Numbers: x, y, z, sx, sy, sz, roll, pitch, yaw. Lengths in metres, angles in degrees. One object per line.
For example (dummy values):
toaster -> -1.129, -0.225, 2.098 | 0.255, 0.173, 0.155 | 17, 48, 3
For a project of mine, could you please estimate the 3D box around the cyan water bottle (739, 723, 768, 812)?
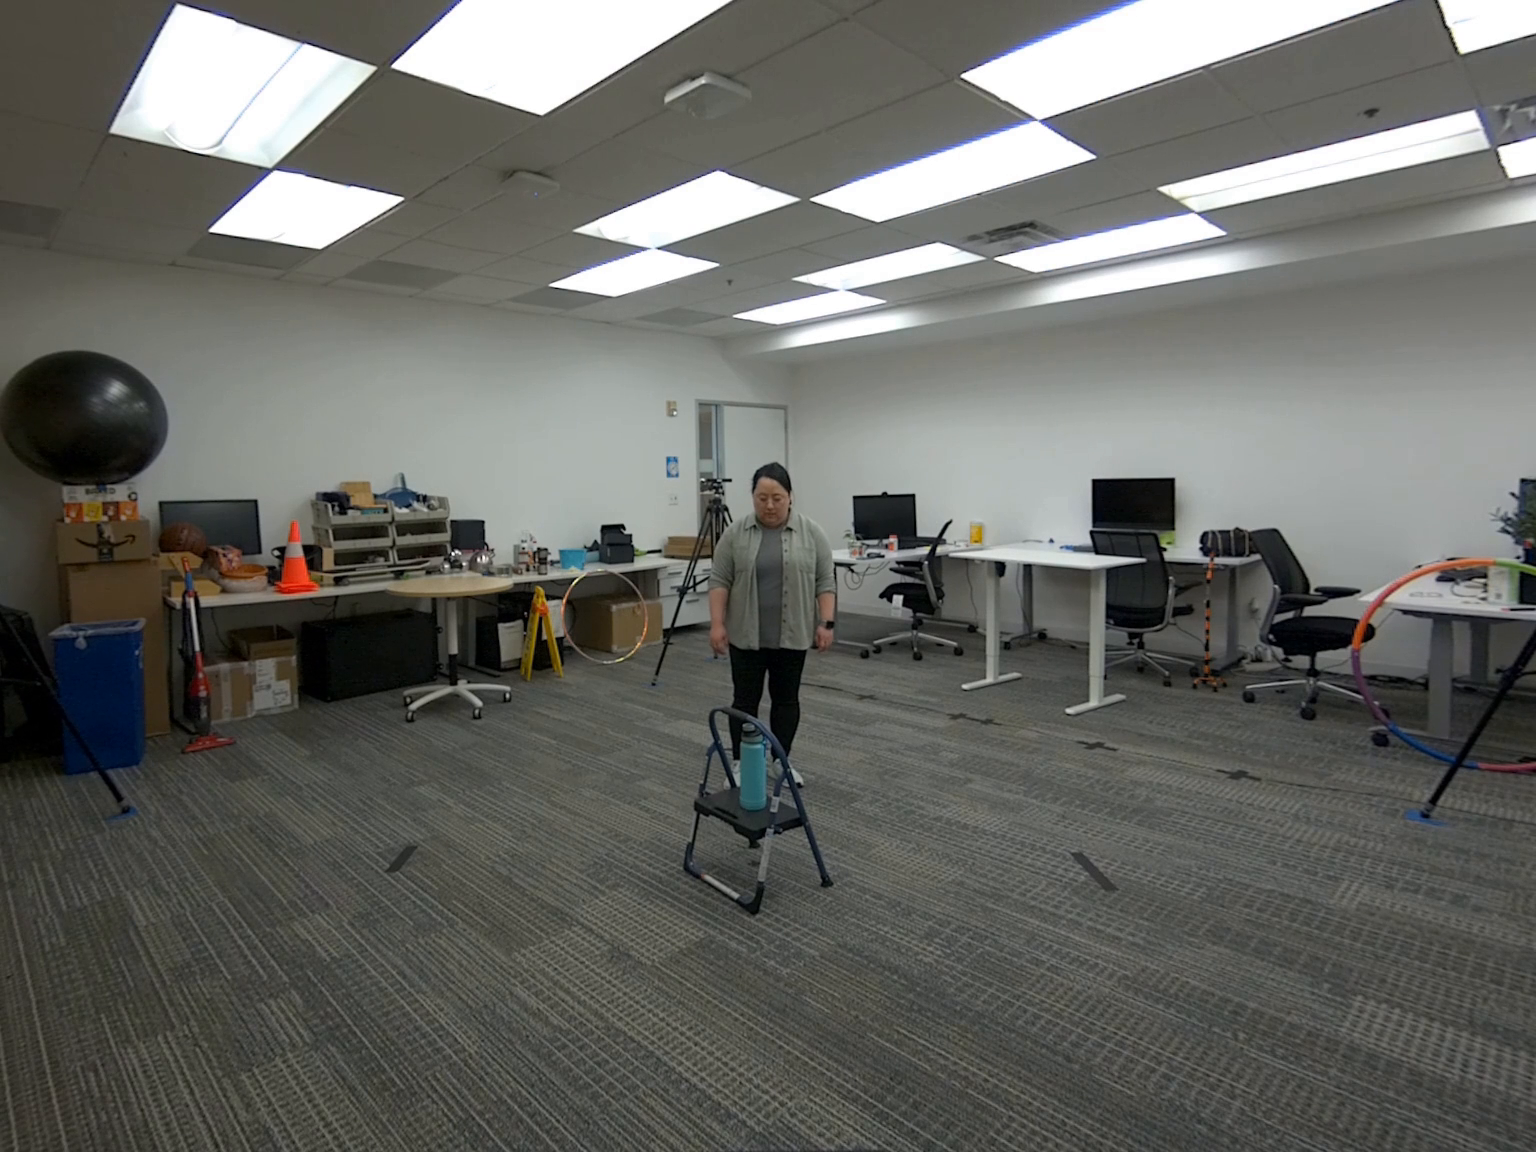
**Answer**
cyan water bottle -> -0.050, 0.662, 2.965 | 0.092, 0.283, 0.092 | 2, 3, -2
